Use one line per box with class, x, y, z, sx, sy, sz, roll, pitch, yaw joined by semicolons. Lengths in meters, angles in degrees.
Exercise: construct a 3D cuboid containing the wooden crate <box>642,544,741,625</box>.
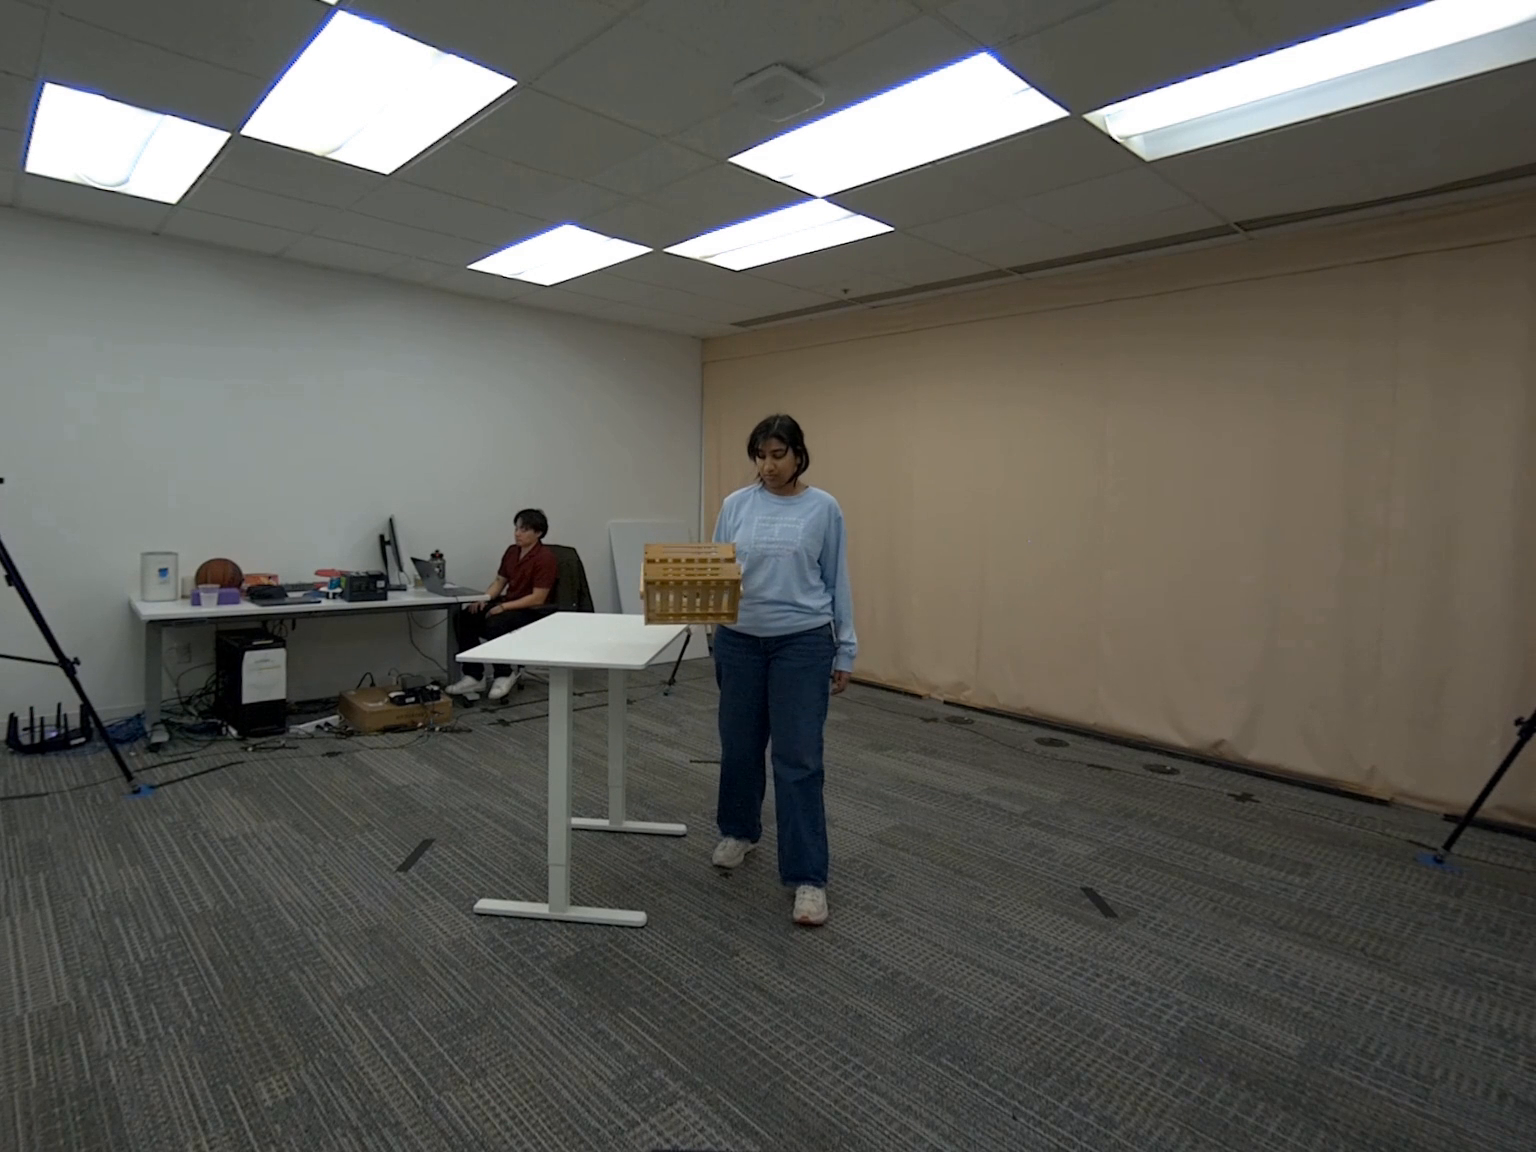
wooden crate;-0.270;-0.006;2.761;0.323;0.296;0.280;0;47;-5
